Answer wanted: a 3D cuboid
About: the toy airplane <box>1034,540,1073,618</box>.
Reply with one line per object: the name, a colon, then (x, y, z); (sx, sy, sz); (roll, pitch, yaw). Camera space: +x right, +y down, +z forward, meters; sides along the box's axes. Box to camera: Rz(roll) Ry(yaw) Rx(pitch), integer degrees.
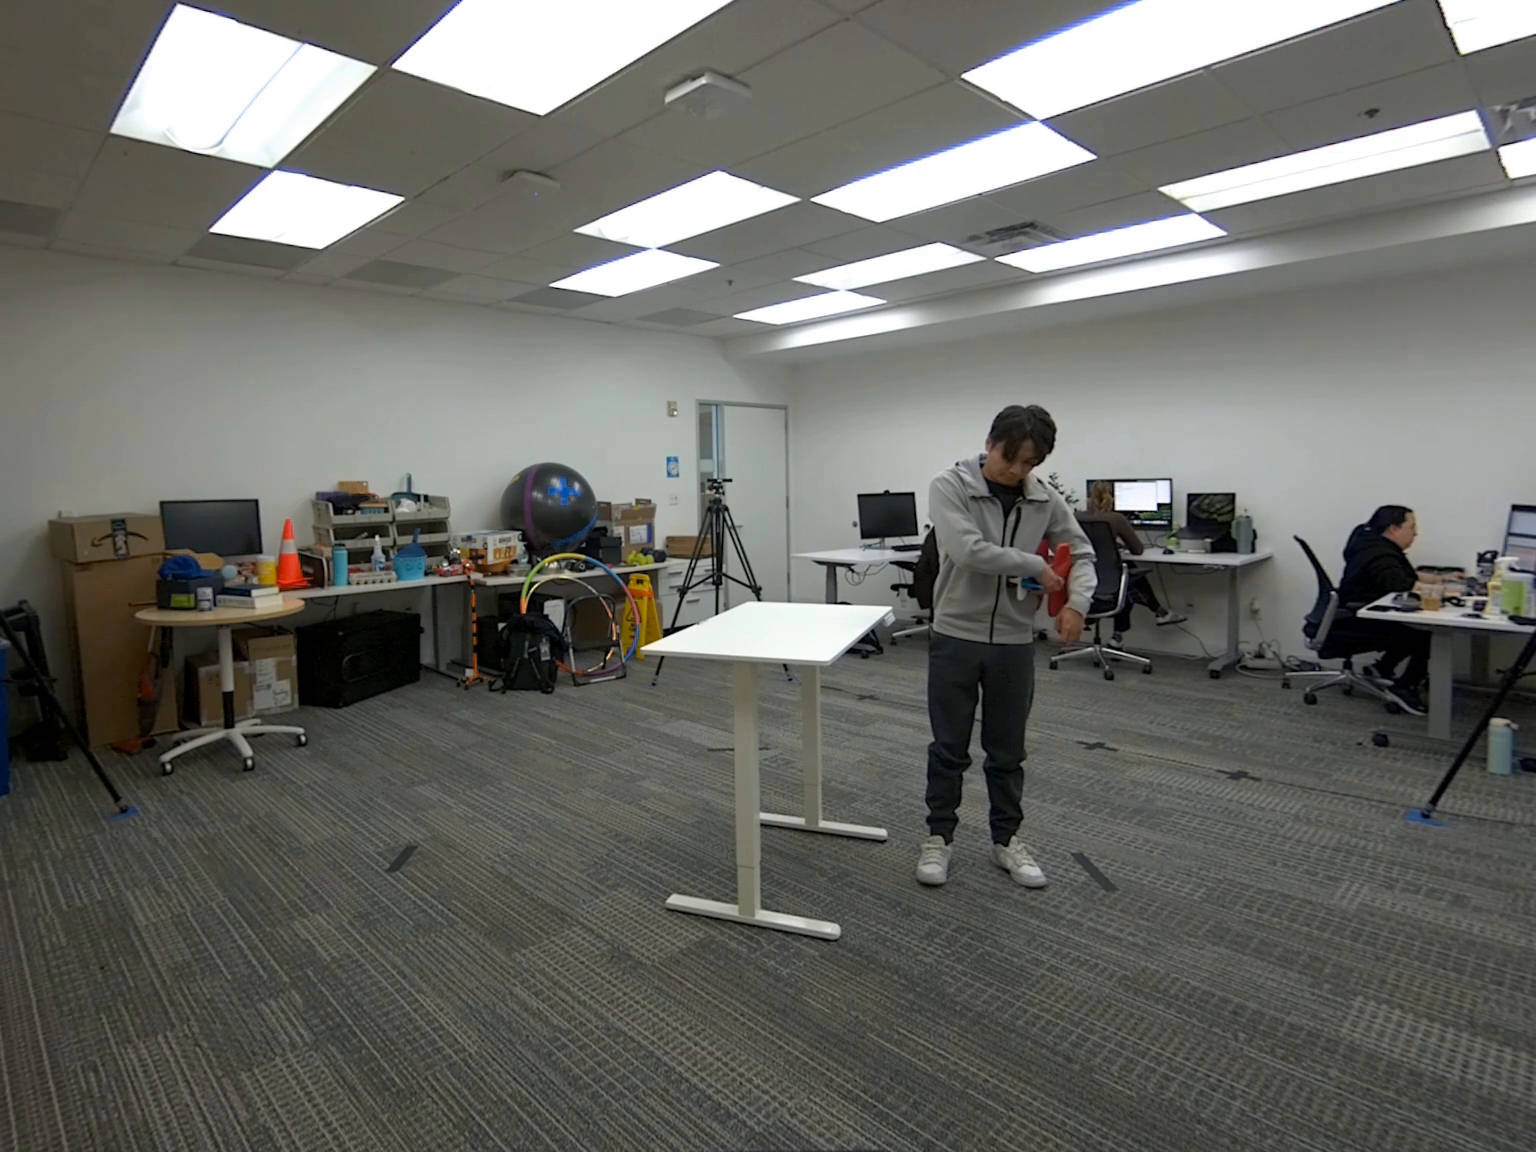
toy airplane: (0.987, 0.034, 2.915); (0.261, 0.259, 0.150); (47, 6, 37)
